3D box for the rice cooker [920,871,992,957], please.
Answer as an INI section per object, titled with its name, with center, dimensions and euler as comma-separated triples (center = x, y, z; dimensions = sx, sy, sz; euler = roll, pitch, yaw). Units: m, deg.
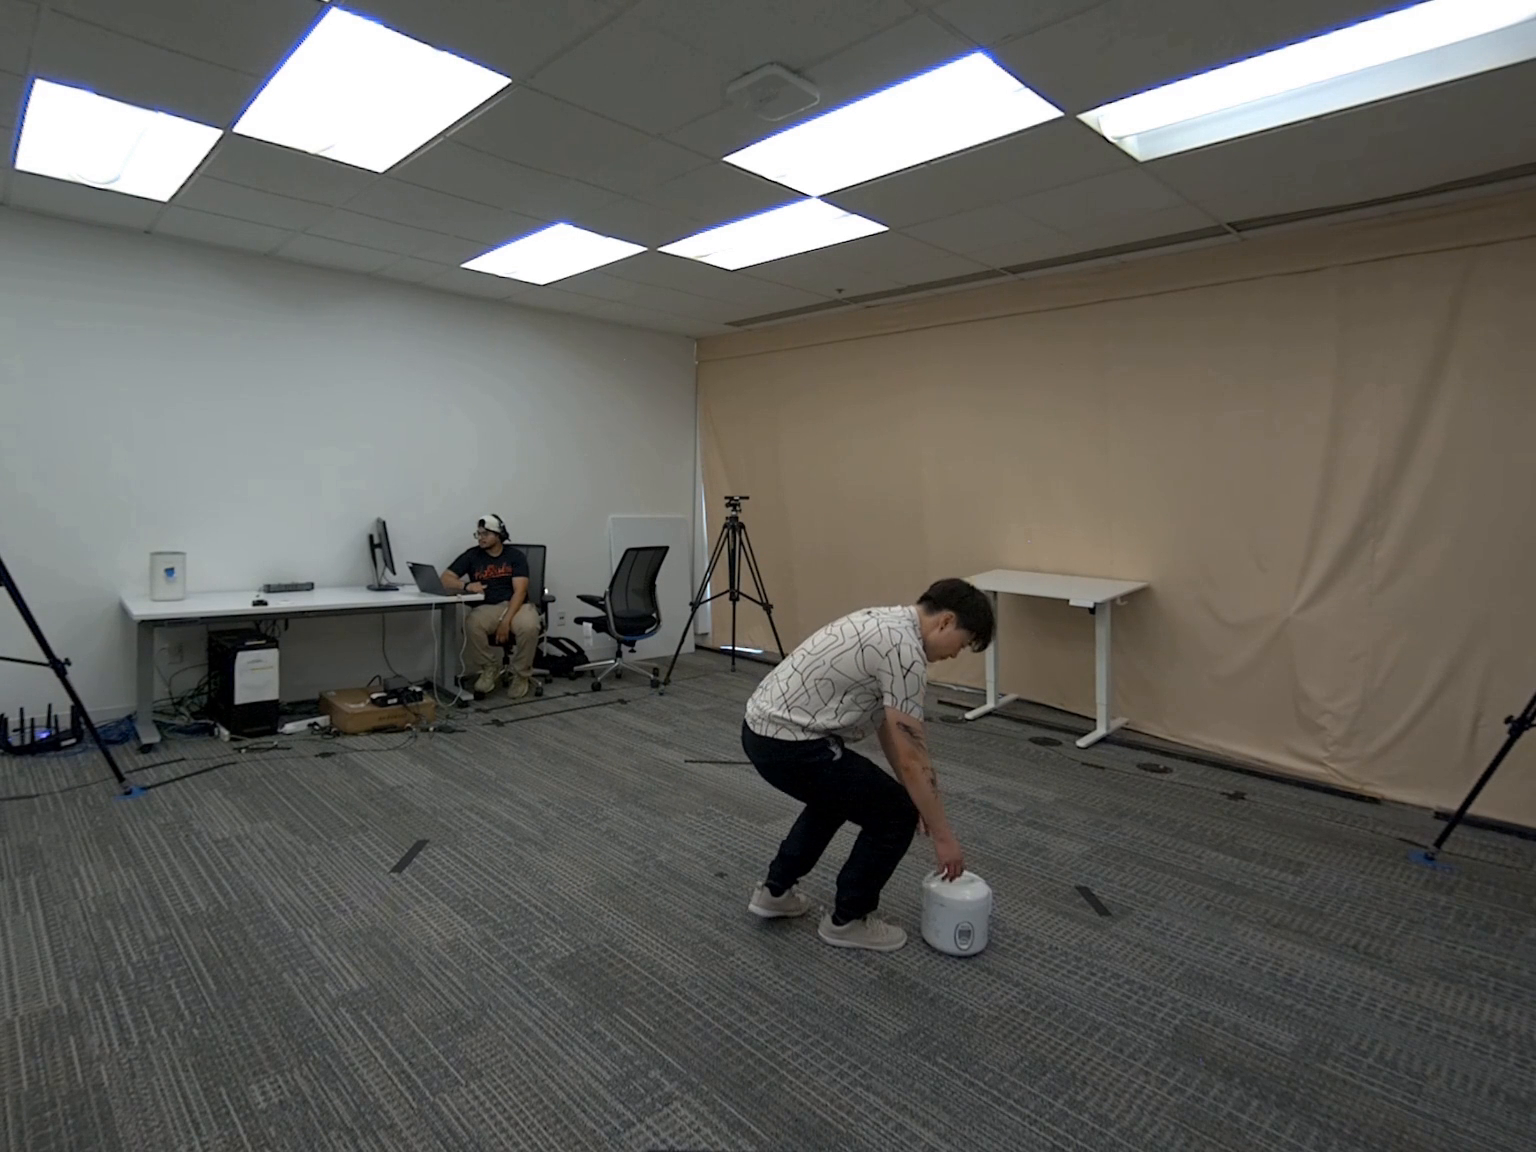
[rice cooker]
center = 0.585, 1.044, 2.660
dimensions = 0.220, 0.232, 0.218
euler = 1, 3, -3
